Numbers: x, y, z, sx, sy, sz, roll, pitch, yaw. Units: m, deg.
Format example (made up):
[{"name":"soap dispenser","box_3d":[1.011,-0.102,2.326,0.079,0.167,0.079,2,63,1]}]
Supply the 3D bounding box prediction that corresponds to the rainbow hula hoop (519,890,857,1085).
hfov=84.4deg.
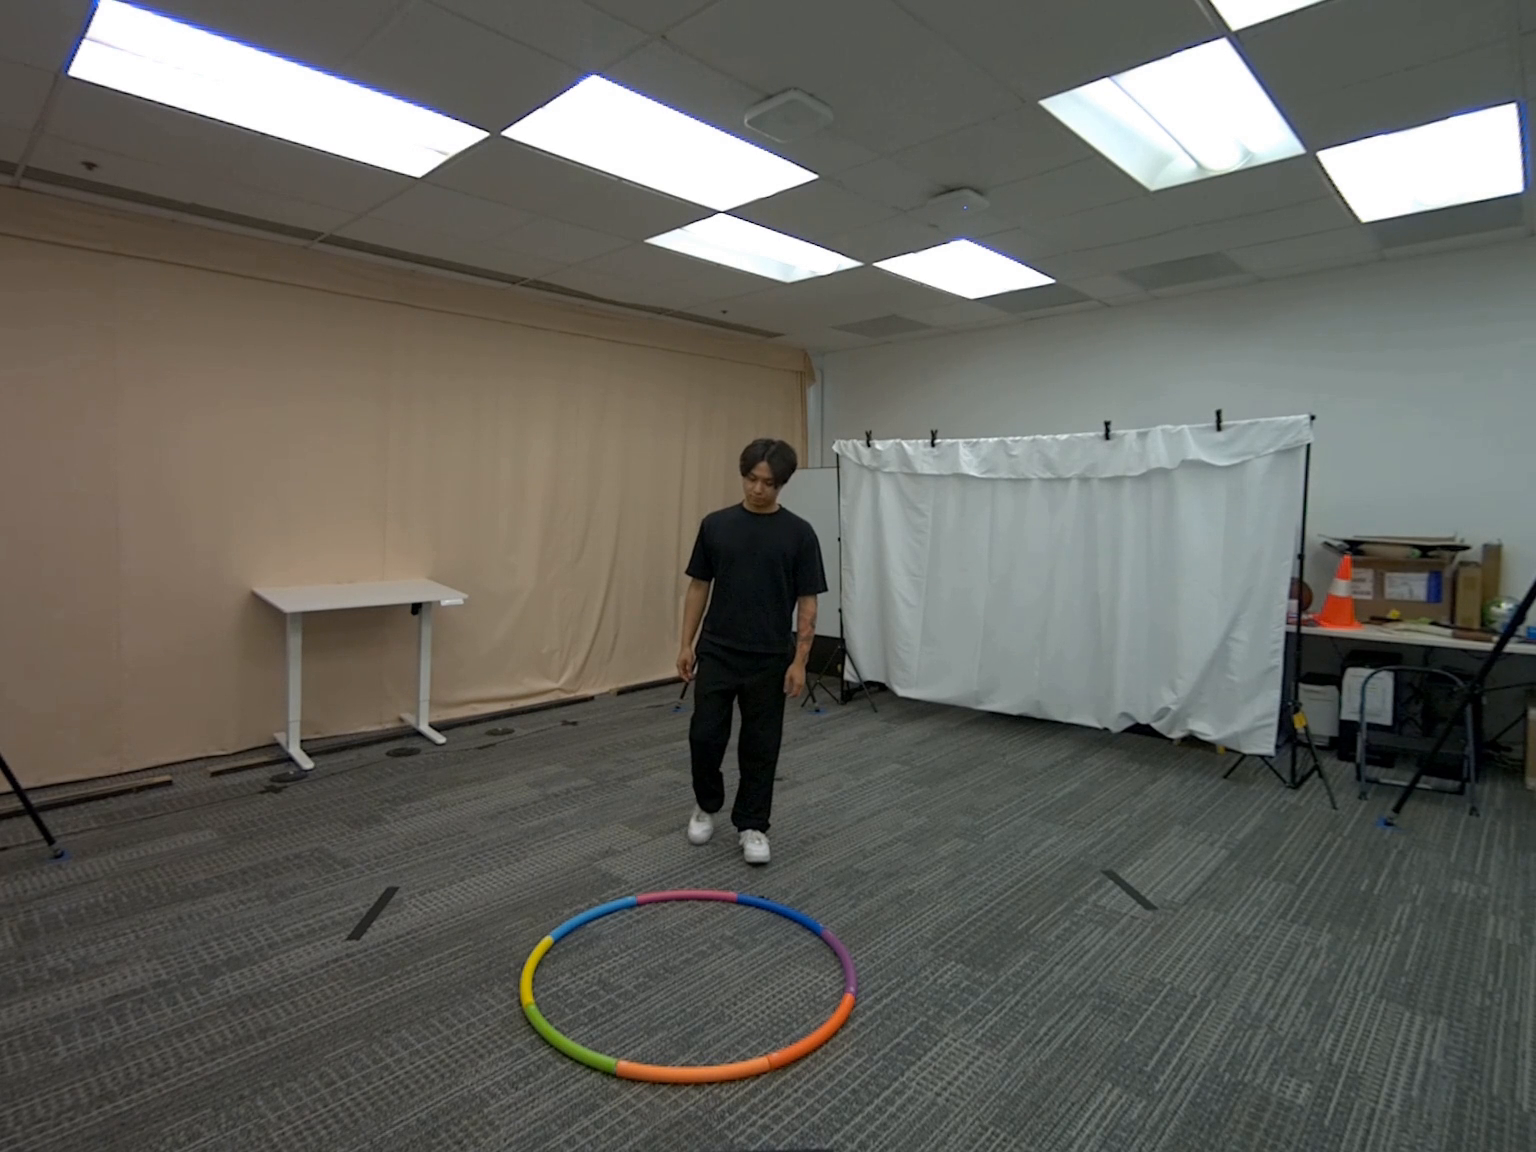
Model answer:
[{"name":"rainbow hula hoop","box_3d":[-0.231,1.155,2.514,0.978,0.035,0.982,0,5,-2]}]
